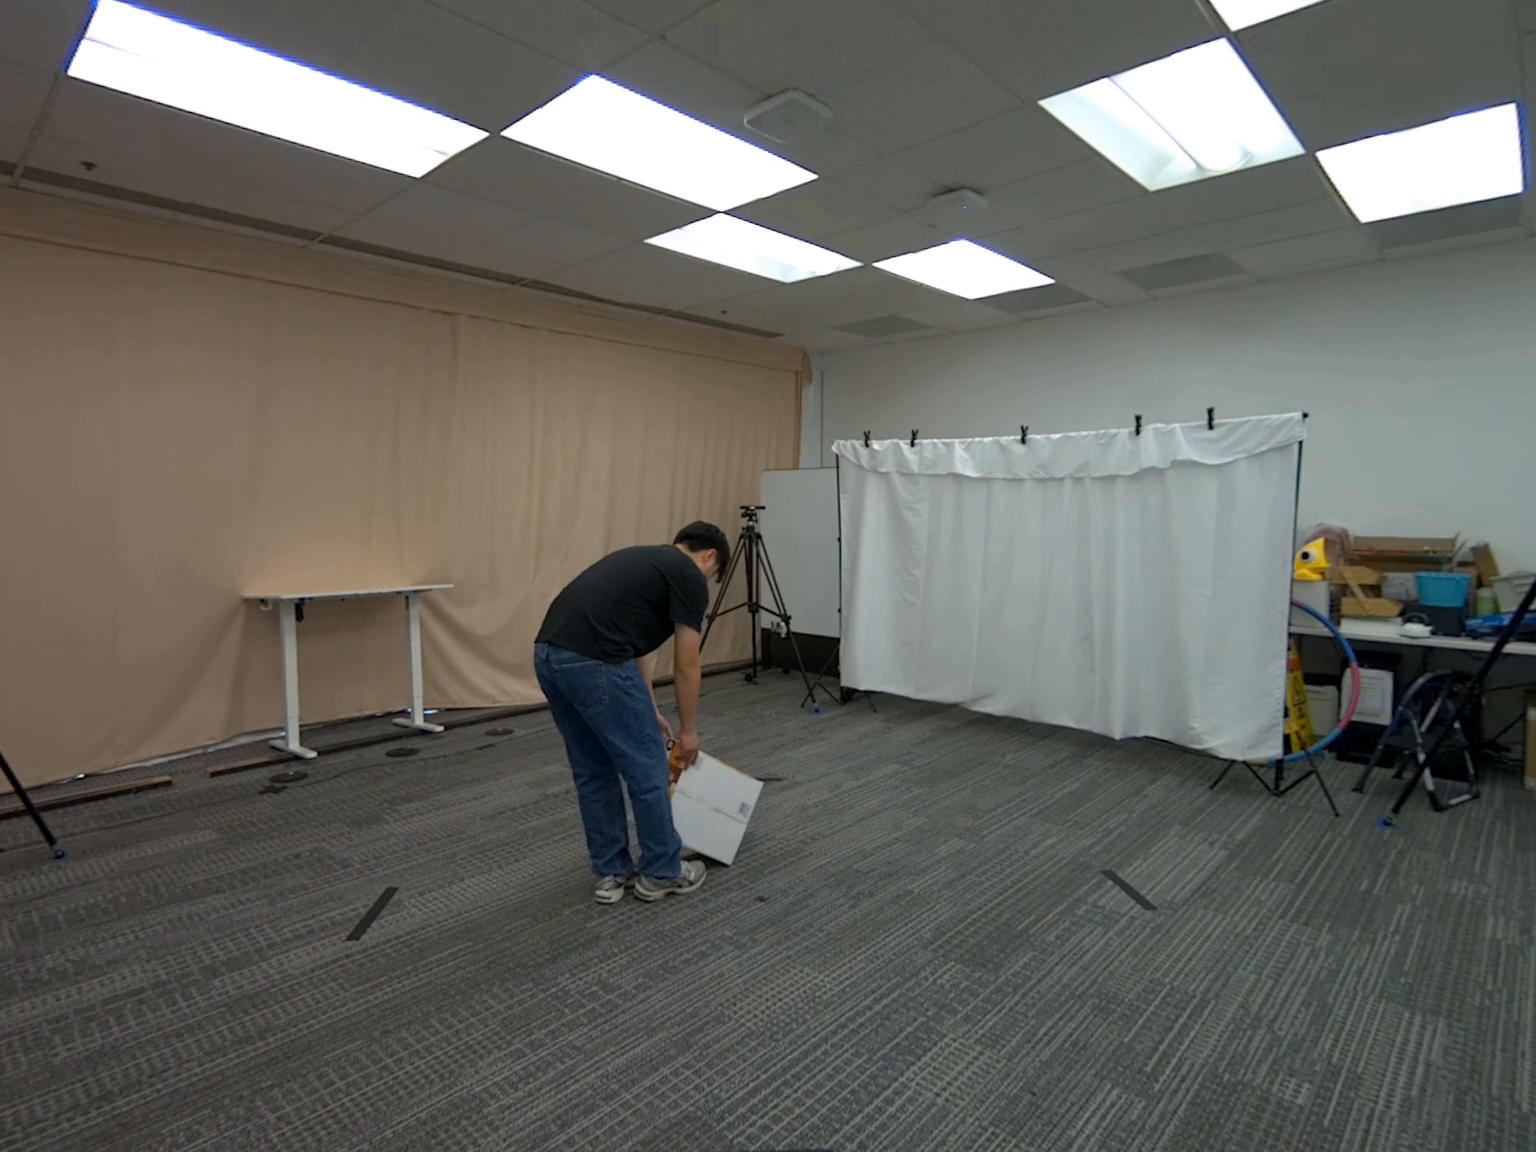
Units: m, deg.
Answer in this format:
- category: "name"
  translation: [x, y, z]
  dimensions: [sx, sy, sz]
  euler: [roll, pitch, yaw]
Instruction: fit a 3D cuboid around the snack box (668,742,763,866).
- category: "snack box"
  translation: [-0.273, 0.872, 3.265]
  dimensions: [0.392, 0.341, 0.212]
  euler: [35, -19, -33]
